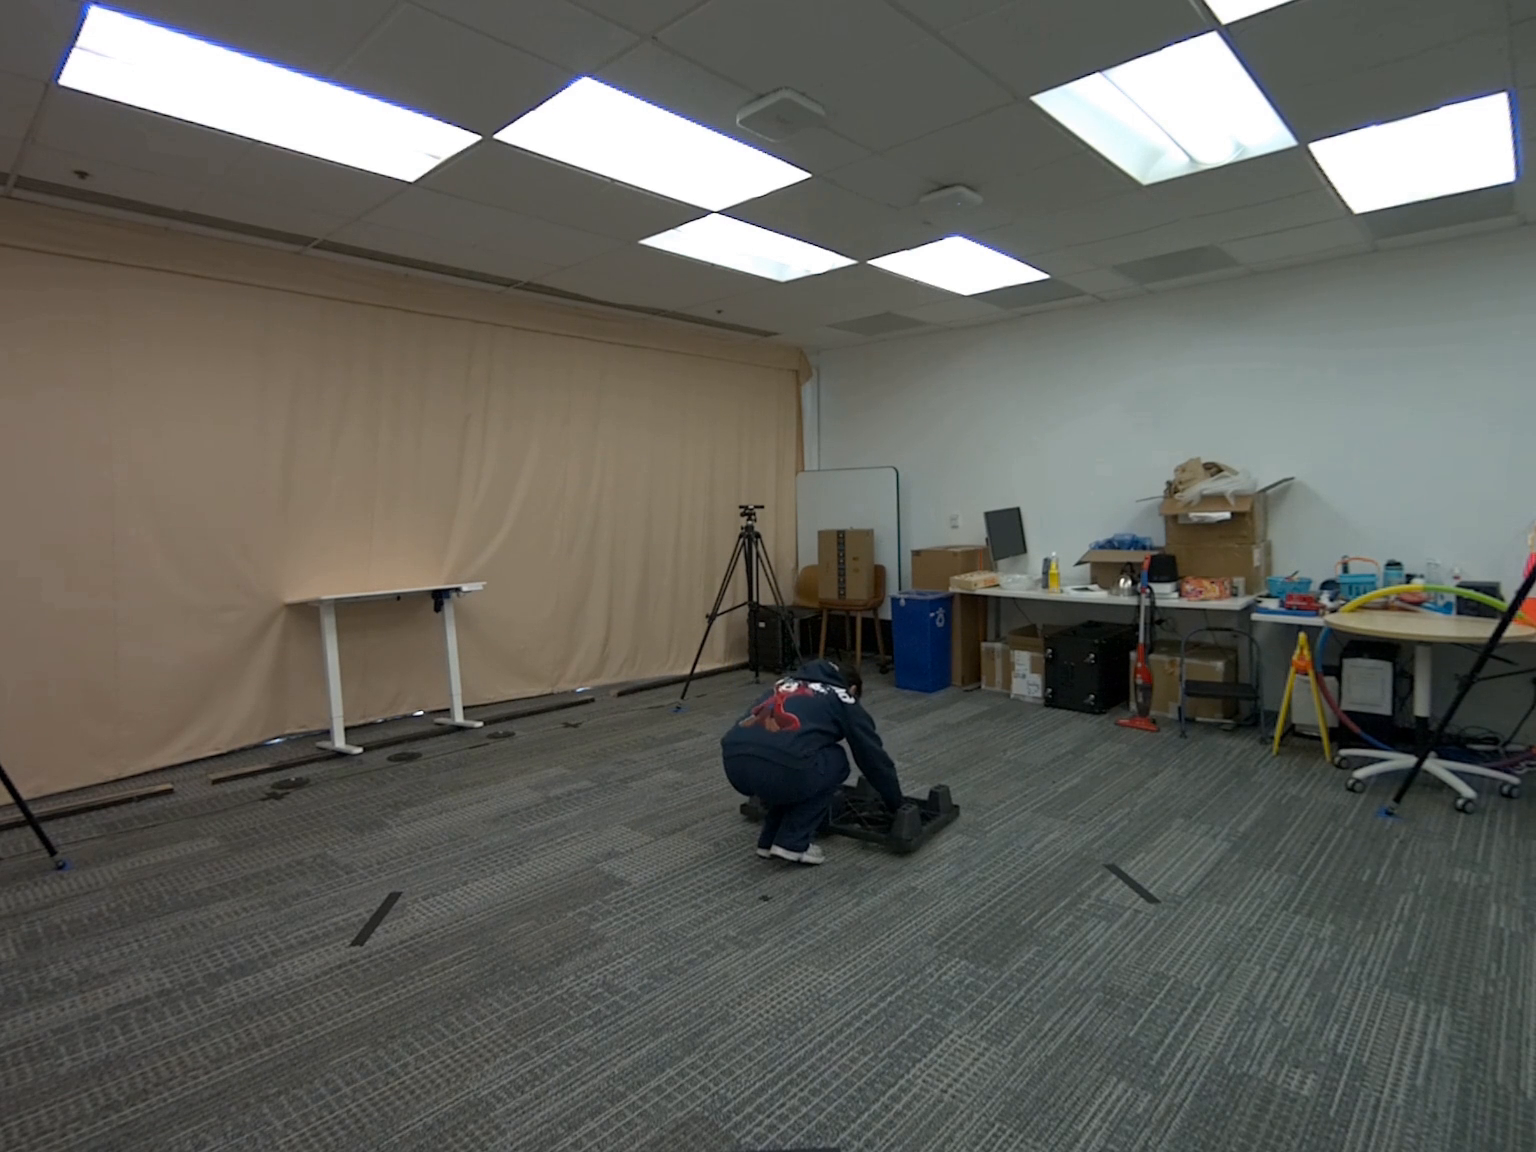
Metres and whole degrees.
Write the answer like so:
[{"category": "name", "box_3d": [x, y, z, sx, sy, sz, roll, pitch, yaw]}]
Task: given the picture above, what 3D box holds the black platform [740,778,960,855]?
[{"category": "black platform", "box_3d": [0.367, 0.996, 3.738, 0.830, 0.143, 0.587, 2, 2, 34]}]
